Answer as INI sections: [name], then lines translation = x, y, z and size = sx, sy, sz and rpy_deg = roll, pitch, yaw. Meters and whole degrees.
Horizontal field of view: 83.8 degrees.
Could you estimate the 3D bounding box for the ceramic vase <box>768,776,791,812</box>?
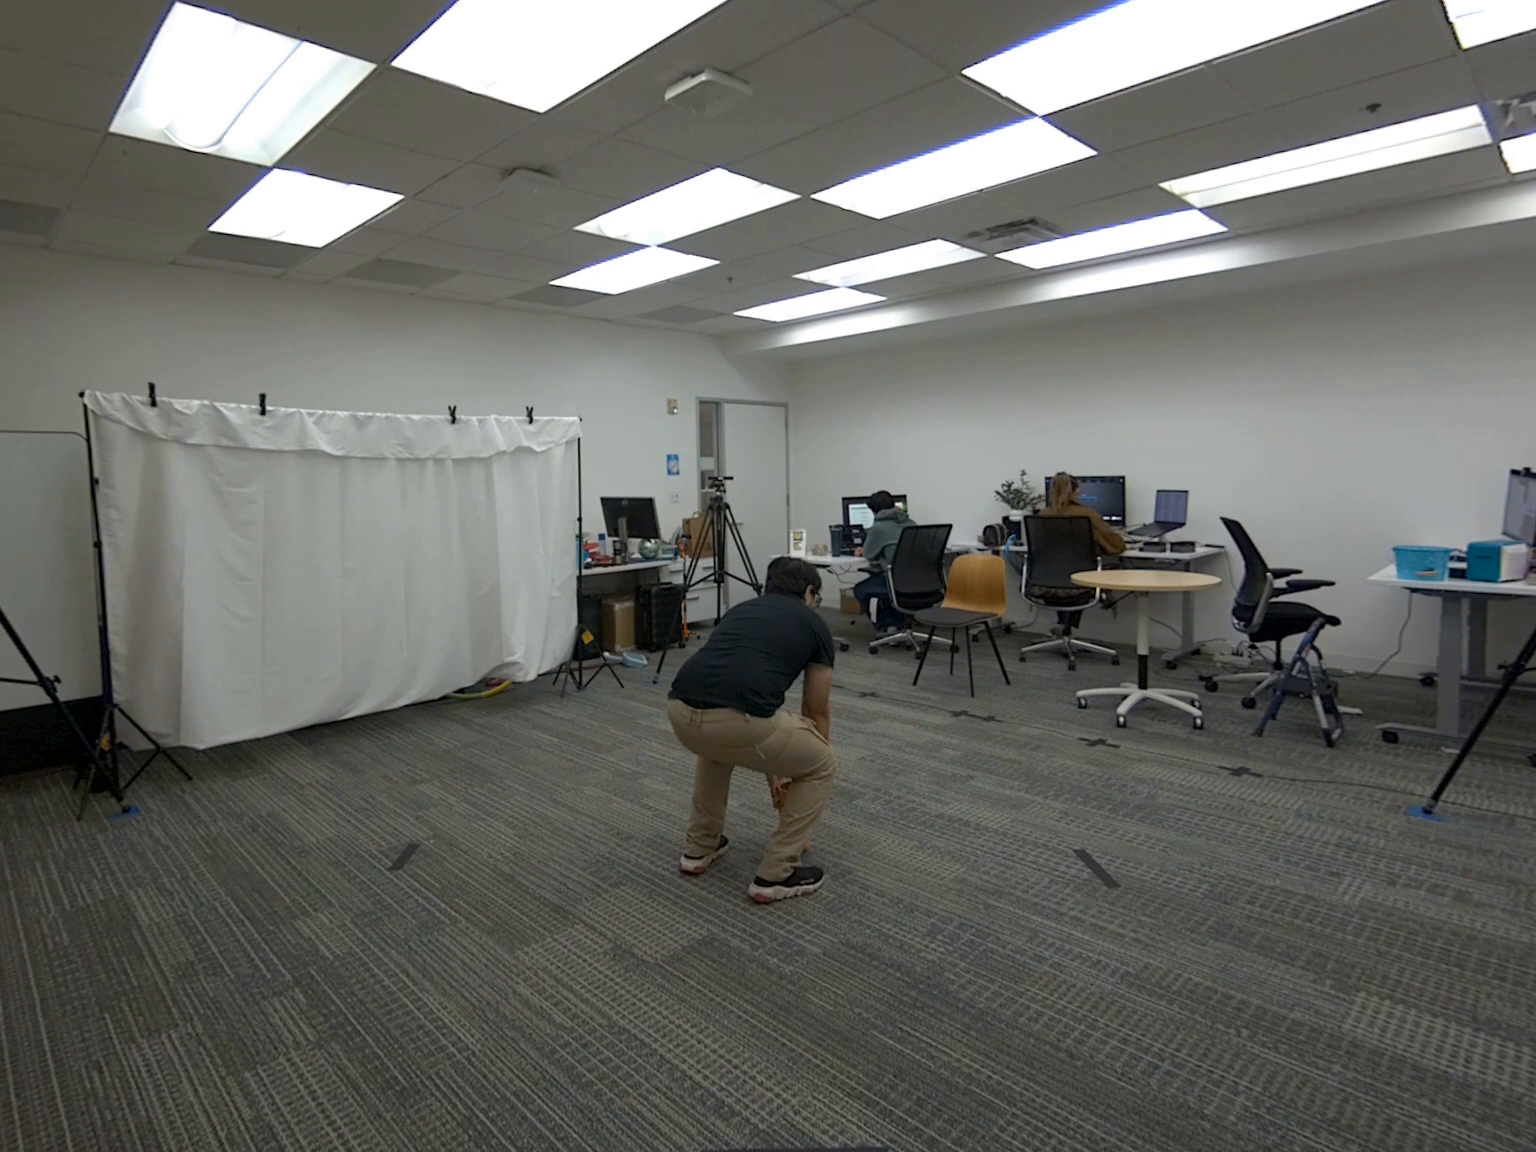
[ceramic vase]
translation = 0.115, 0.876, 3.187
size = 0.160, 0.219, 0.134
rpy_deg = 0, 4, 6
